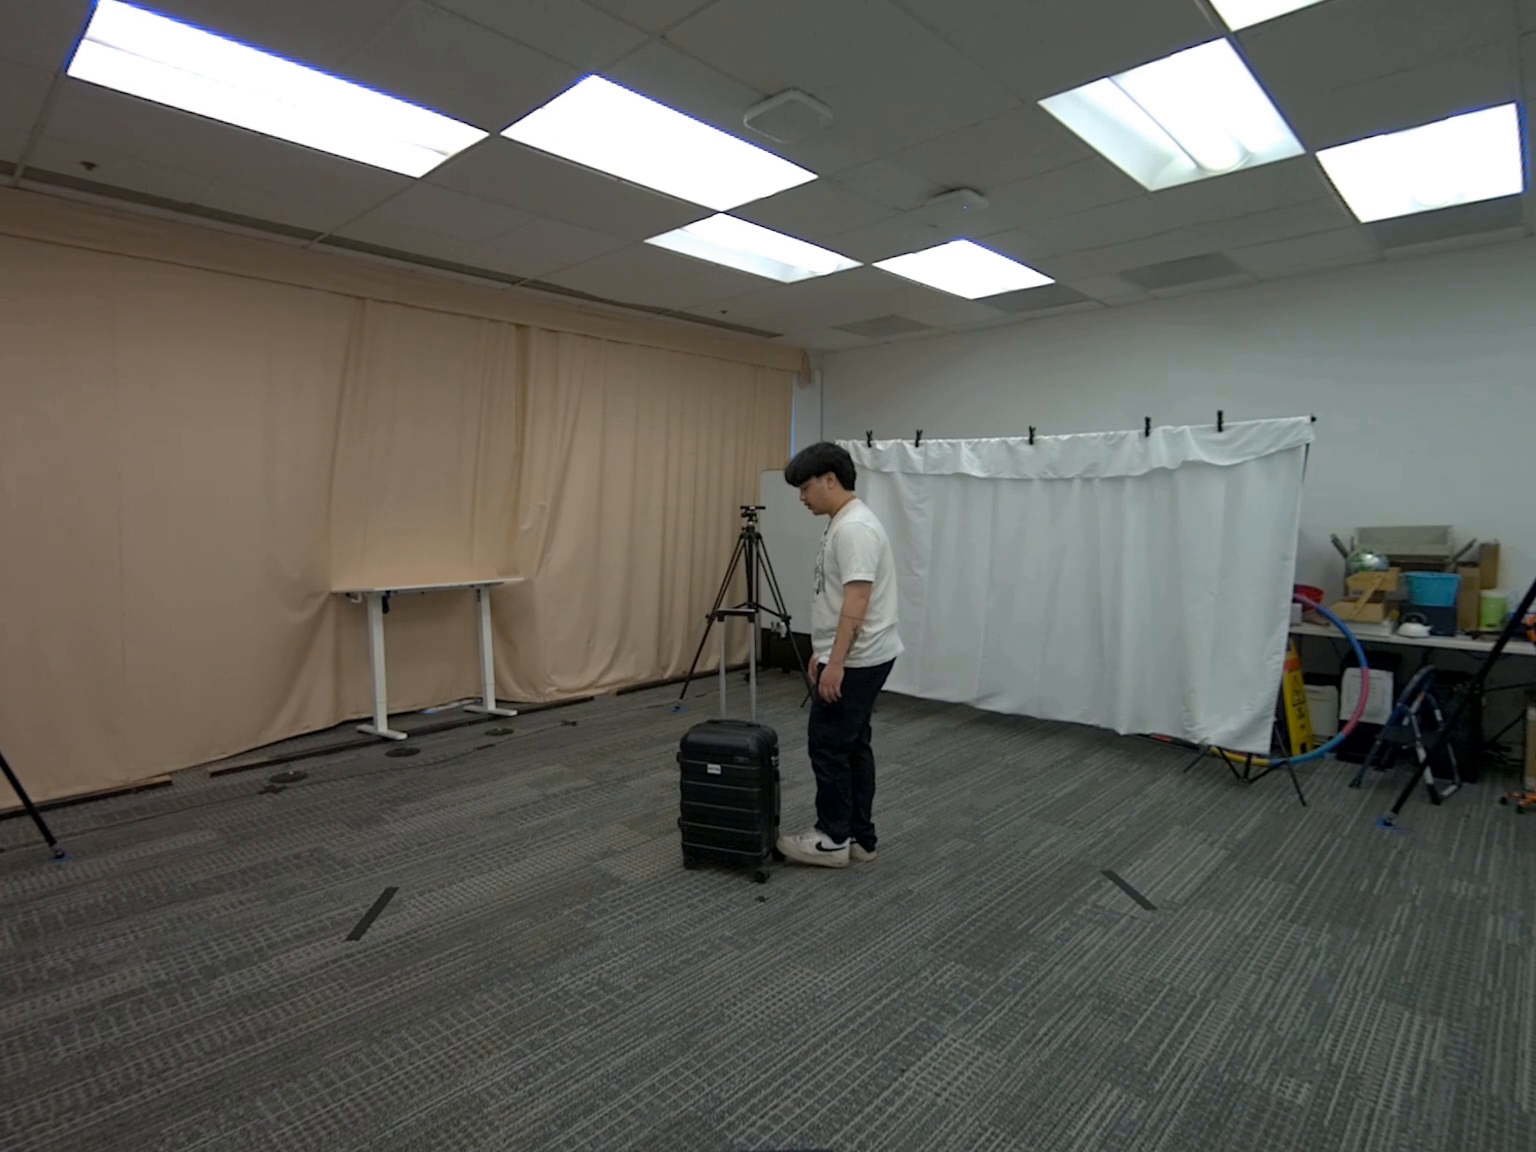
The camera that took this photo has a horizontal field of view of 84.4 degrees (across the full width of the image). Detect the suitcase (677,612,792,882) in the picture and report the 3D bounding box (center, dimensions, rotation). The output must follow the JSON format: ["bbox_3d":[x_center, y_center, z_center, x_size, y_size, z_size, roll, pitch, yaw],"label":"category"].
[{"bbox_3d":[-0.155,0.648,3.248,0.393,0.975,0.252,0,5,22],"label":"suitcase"}]
